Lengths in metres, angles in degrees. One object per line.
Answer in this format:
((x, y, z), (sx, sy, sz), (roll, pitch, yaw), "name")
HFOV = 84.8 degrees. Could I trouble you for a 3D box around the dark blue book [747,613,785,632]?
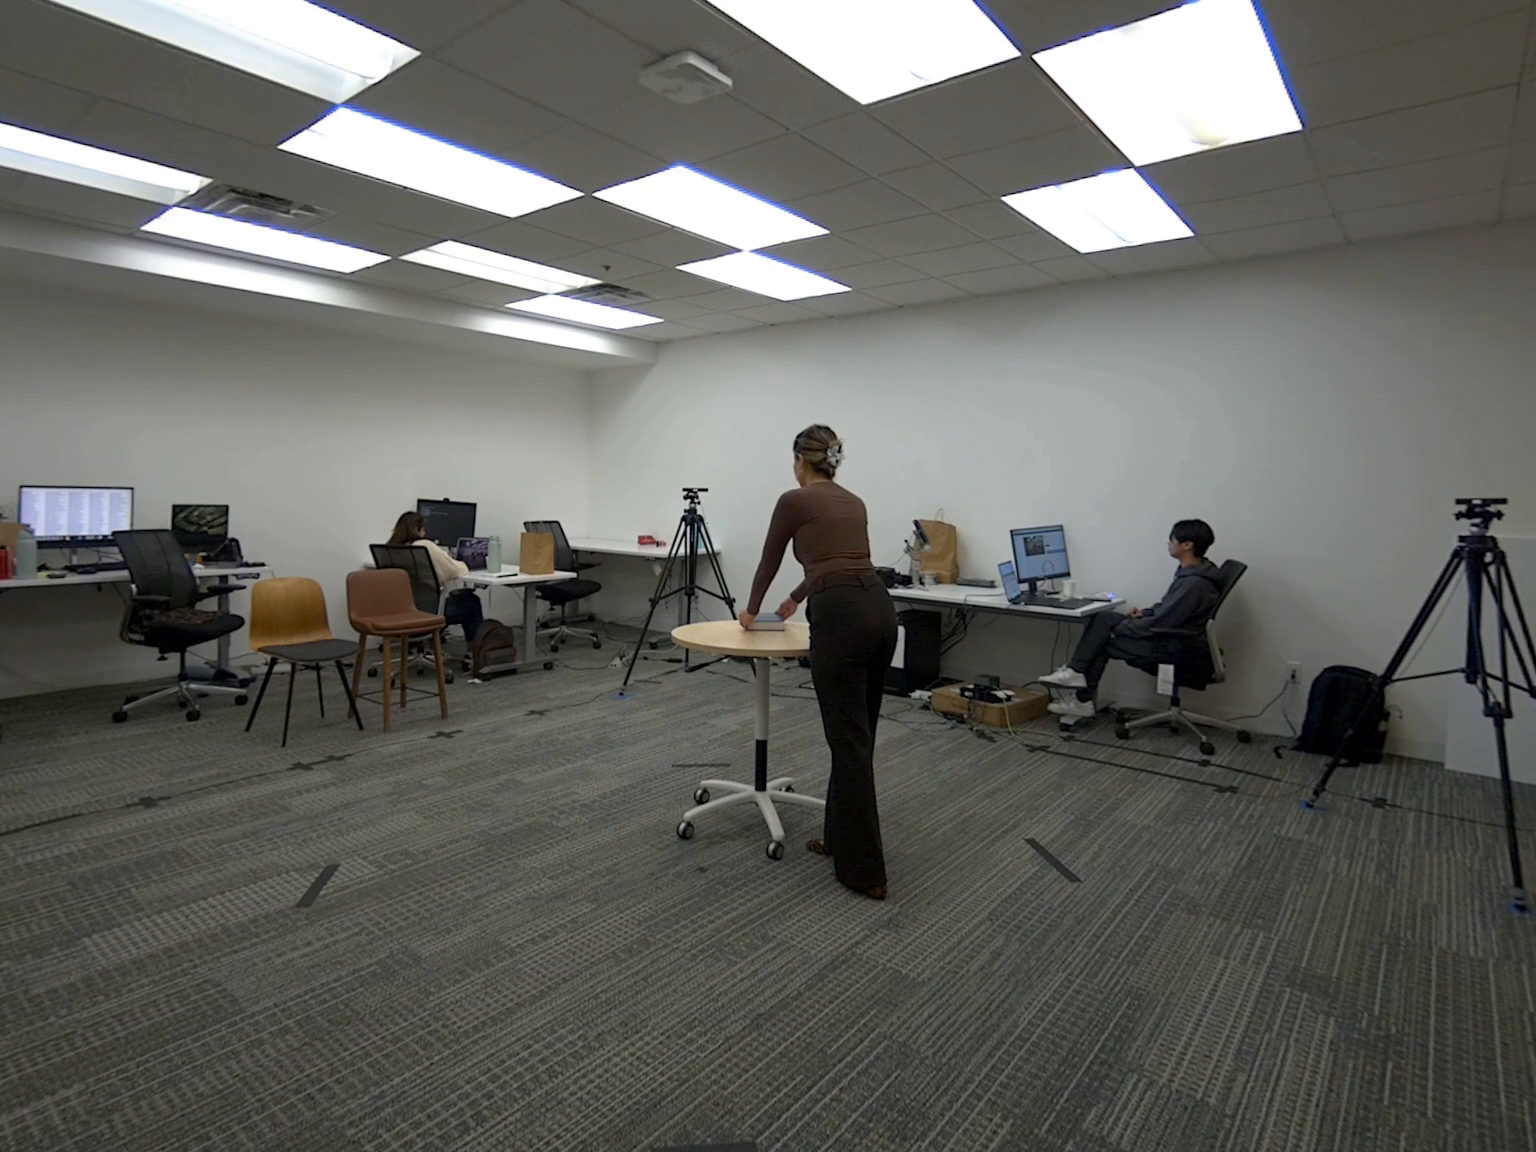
((-0.033, 0.196, 3.728), (0.163, 0.045, 0.247), (0, 6, -4), "dark blue book")
